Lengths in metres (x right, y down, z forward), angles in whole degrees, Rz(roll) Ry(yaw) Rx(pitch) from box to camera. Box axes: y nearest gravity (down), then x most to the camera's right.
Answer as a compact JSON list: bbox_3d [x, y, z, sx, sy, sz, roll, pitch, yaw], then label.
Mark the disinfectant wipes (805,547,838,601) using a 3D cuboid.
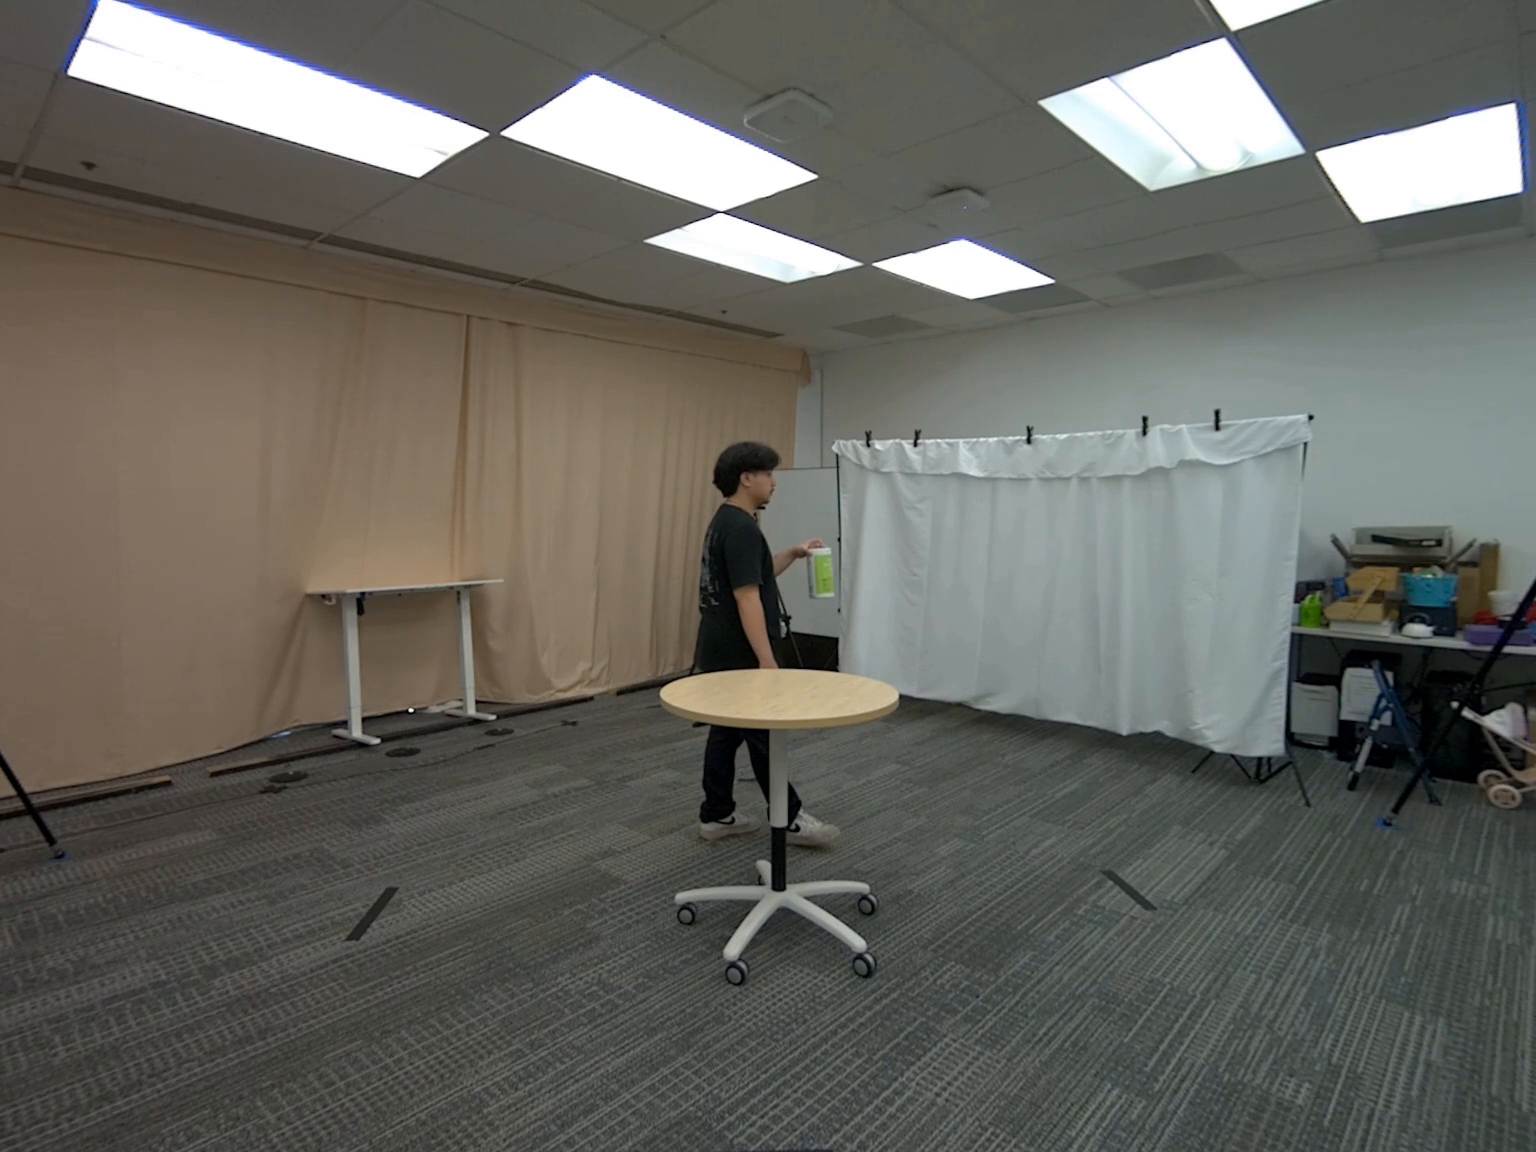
[{"bbox_3d":[0.225,-0.014,3.635,0.118,0.217,0.118,-1,2,-2],"label":"disinfectant wipes"}]
